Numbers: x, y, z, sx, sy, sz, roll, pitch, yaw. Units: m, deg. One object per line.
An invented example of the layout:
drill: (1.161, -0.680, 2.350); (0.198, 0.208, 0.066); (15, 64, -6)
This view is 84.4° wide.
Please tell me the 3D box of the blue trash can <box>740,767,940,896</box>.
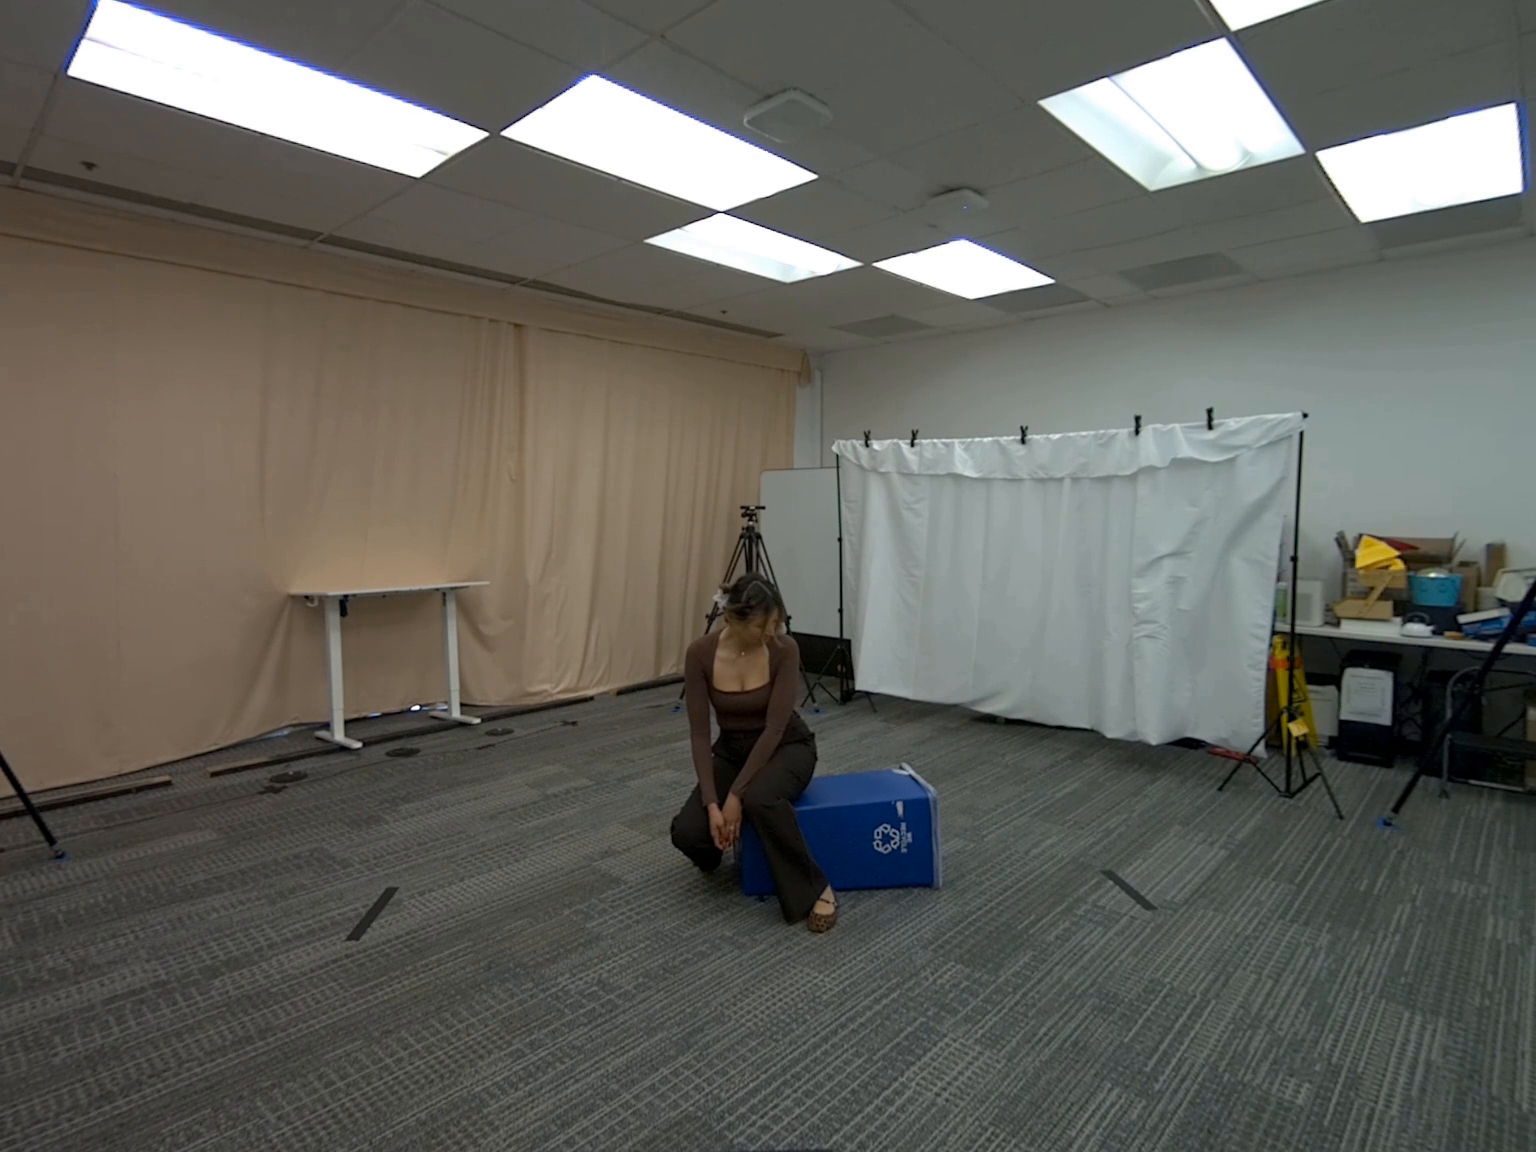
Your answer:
blue trash can: (0.248, 0.961, 3.162); (0.708, 0.377, 0.378); (-4, 5, -8)
